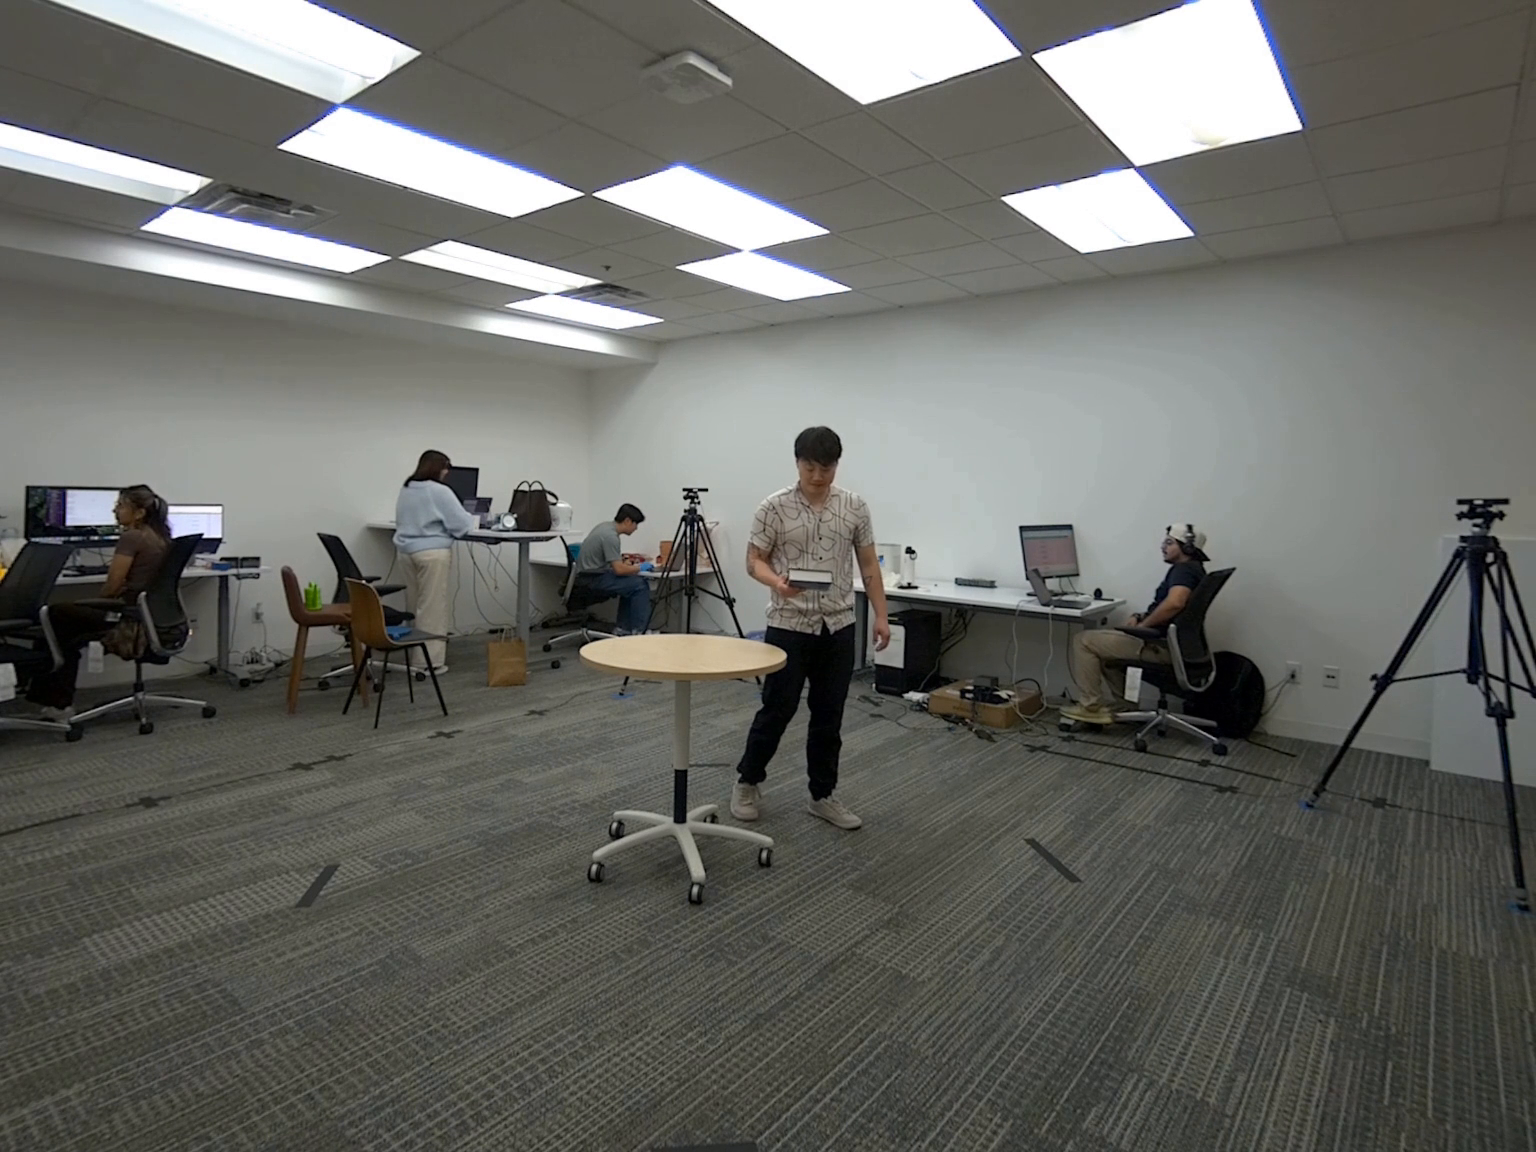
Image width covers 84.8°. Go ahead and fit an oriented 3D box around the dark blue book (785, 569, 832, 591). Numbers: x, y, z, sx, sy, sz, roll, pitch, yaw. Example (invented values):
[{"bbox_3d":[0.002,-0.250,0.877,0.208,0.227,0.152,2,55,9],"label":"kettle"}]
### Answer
[{"bbox_3d":[0.124,0.013,3.255,0.164,0.045,0.242,10,-8,3],"label":"dark blue book"}]
